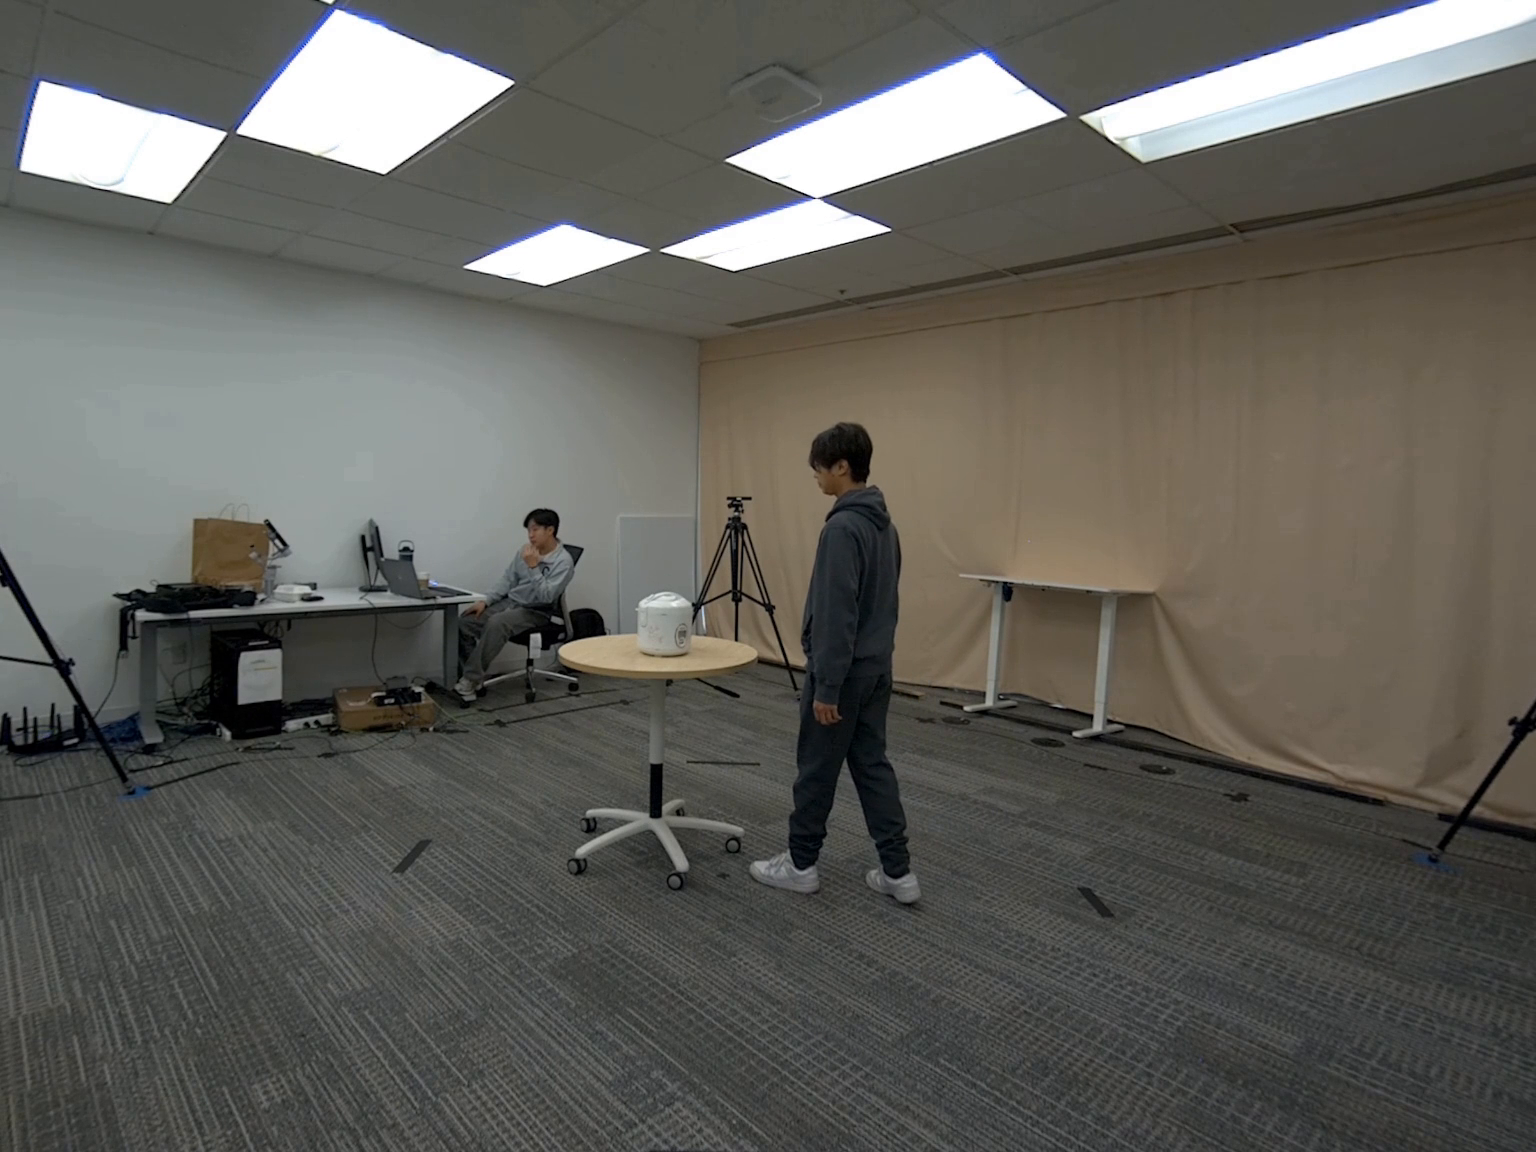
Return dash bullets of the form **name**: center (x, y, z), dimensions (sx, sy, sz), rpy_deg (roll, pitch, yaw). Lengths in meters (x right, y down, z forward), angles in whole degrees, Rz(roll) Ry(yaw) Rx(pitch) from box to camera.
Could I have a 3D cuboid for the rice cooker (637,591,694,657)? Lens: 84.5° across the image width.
- **rice cooker**: center (-0.393, 0.177, 3.211), dimensions (0.215, 0.232, 0.223), rpy_deg (-2, 5, -43)
